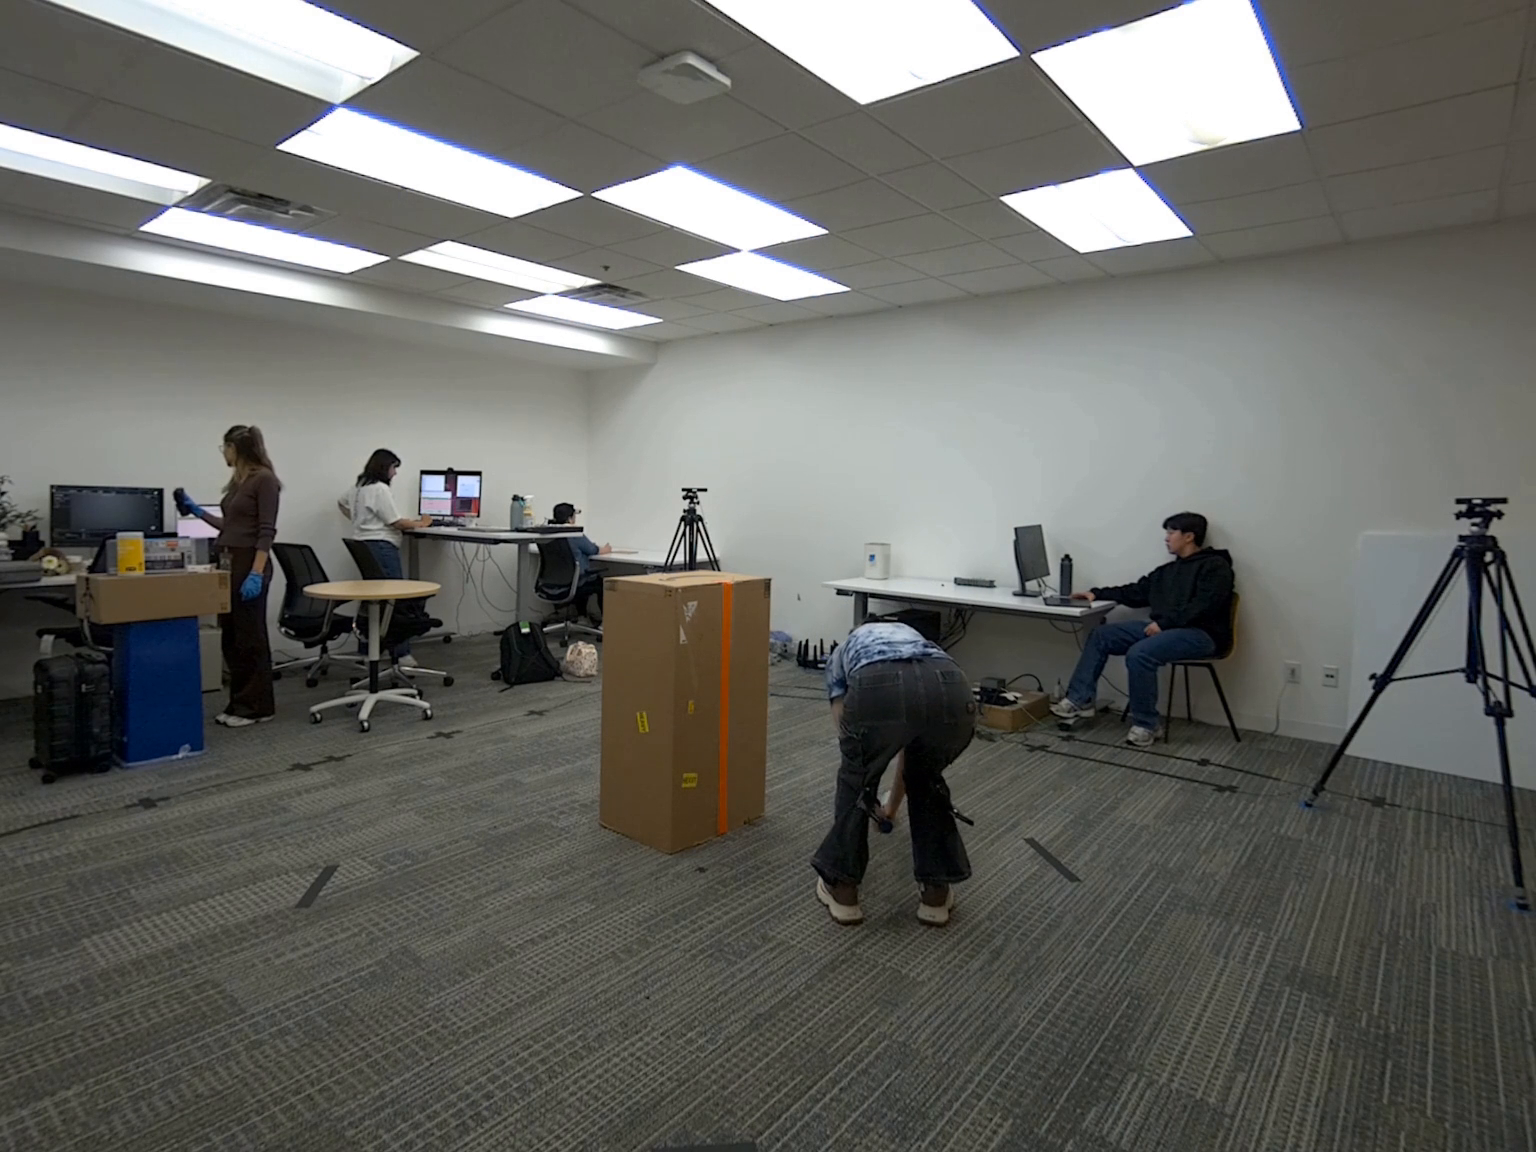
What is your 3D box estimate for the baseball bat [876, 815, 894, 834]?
[{"bbox_3d":[0.451,0.912,3.286,0.090,0.089,0.533,2,-5,10],"label":"baseball bat"}]
